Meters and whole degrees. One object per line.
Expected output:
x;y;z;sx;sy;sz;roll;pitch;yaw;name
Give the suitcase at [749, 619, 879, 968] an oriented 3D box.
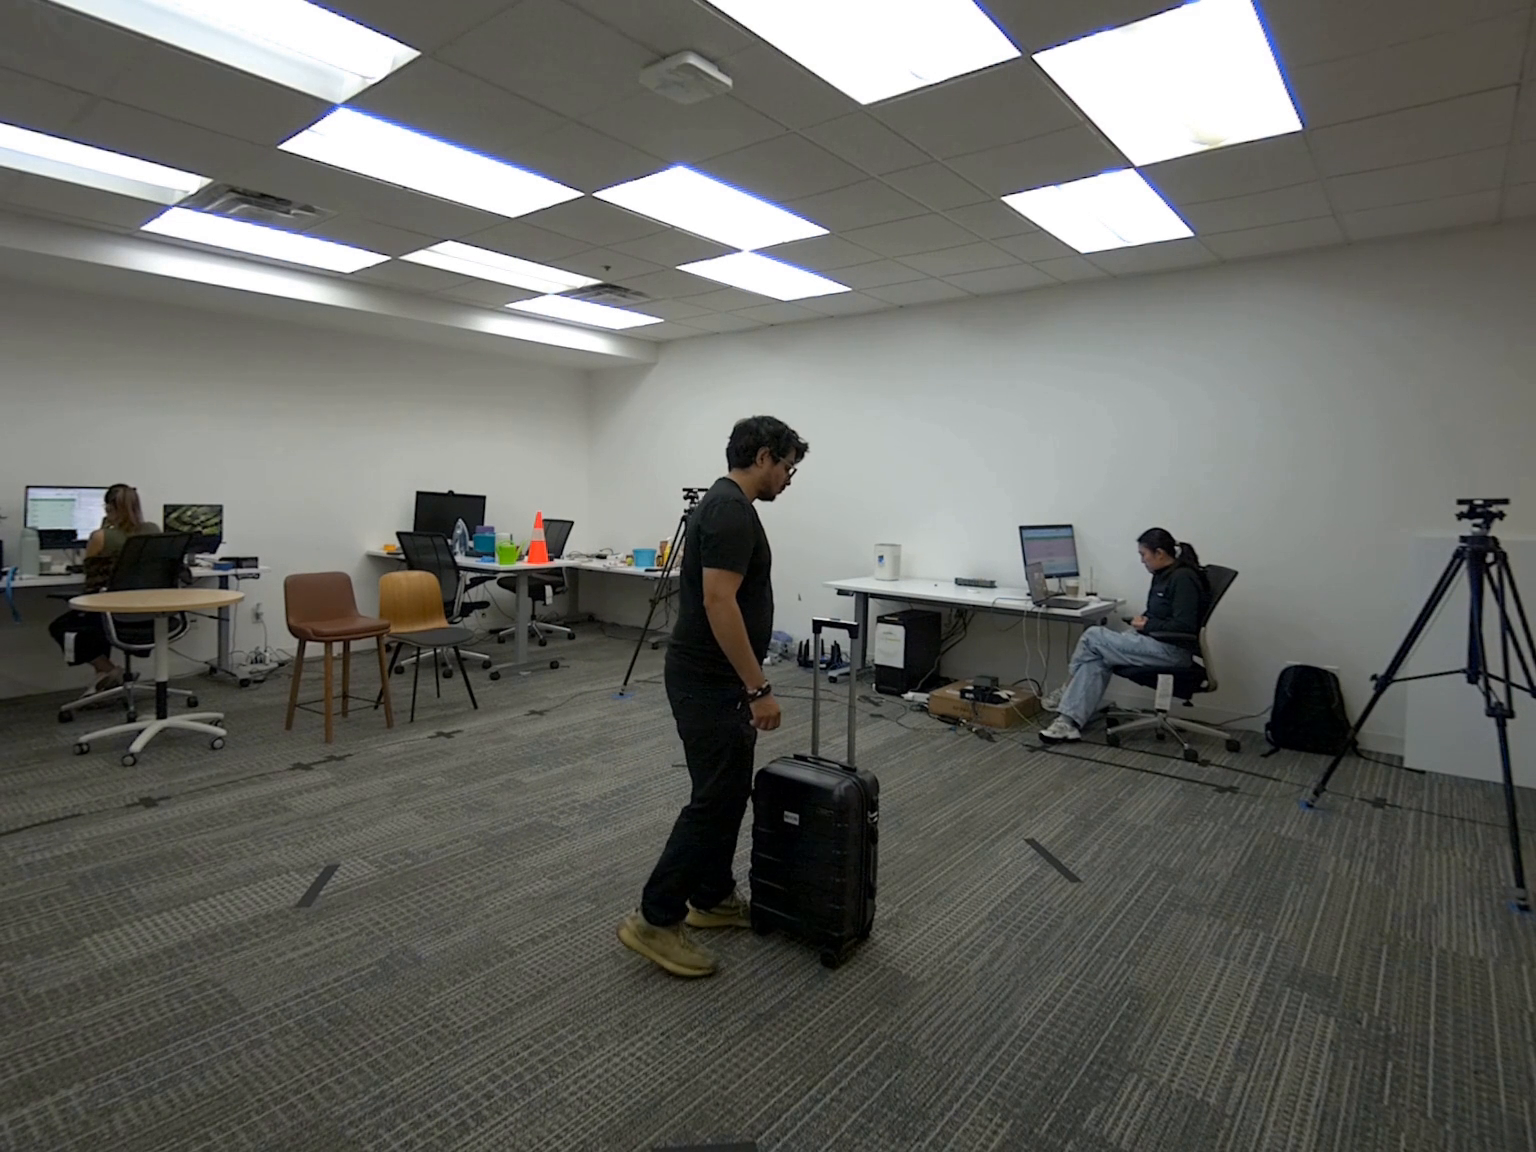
0.151;0.648;2.624;0.396;0.973;0.250;5;7;34;suitcase
